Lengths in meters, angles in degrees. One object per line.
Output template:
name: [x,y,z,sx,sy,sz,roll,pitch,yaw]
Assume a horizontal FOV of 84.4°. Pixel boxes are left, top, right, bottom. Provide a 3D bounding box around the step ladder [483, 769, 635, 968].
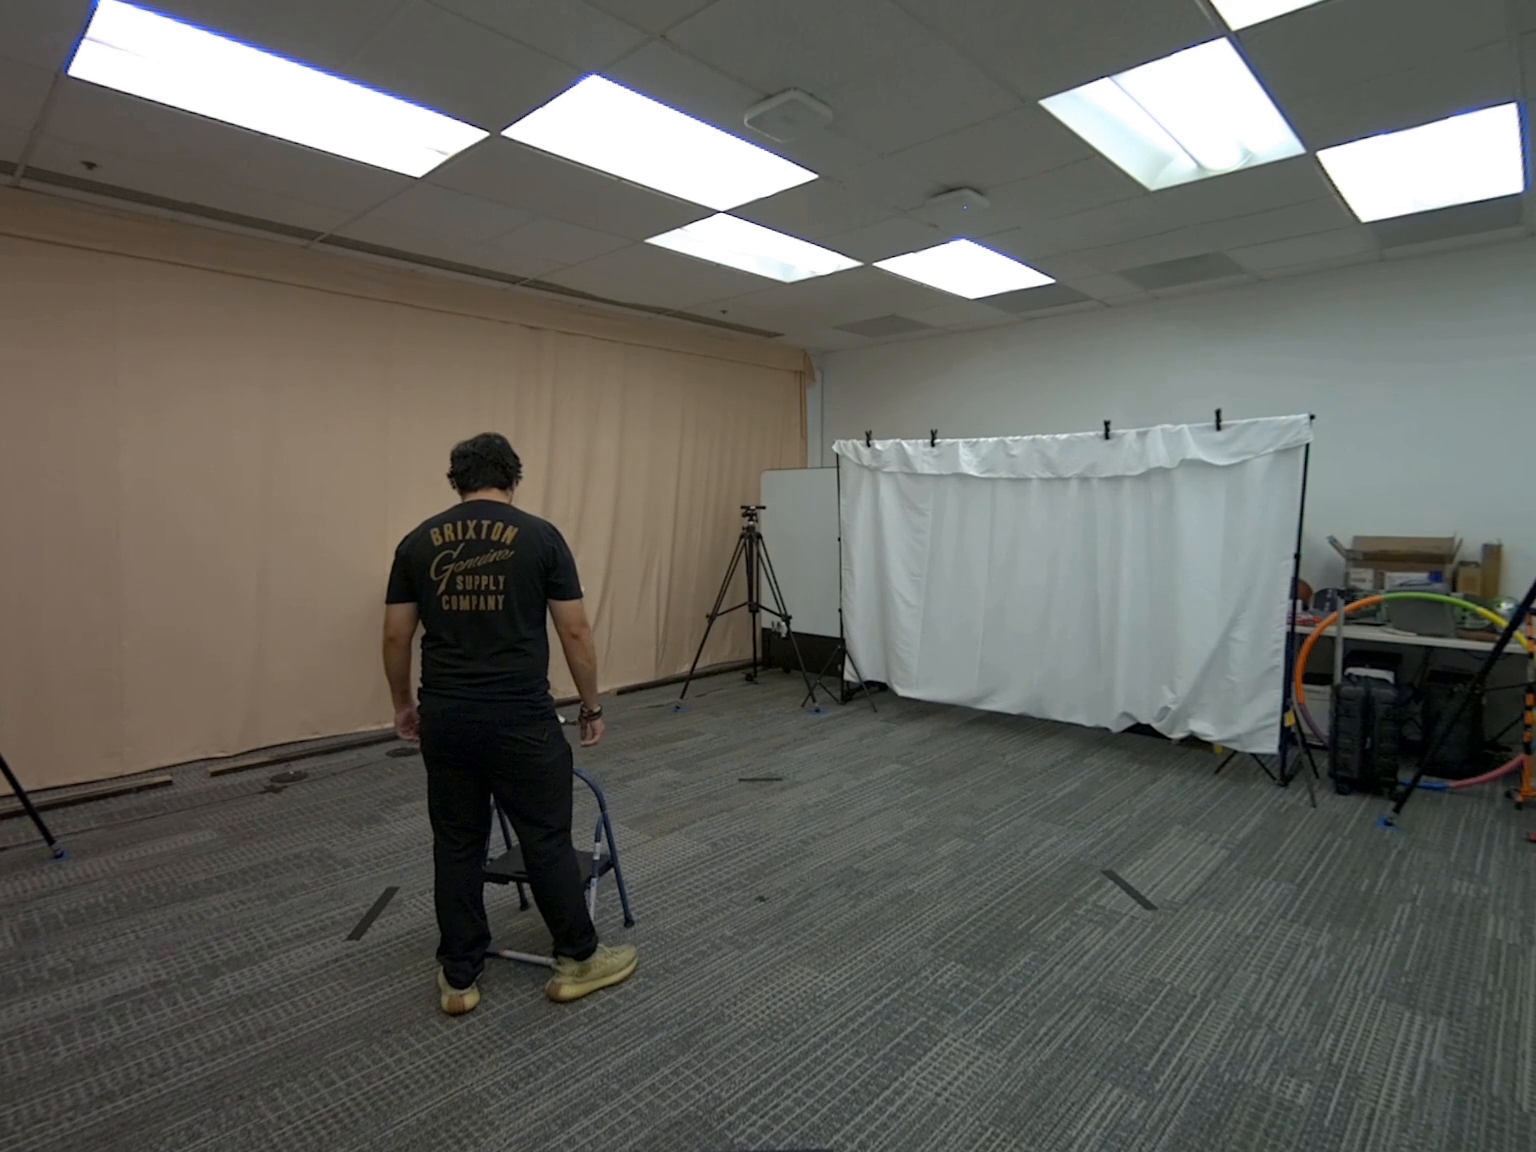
step ladder: [-0.699,0.874,2.700,0.438,0.605,0.344,1,3,16]
